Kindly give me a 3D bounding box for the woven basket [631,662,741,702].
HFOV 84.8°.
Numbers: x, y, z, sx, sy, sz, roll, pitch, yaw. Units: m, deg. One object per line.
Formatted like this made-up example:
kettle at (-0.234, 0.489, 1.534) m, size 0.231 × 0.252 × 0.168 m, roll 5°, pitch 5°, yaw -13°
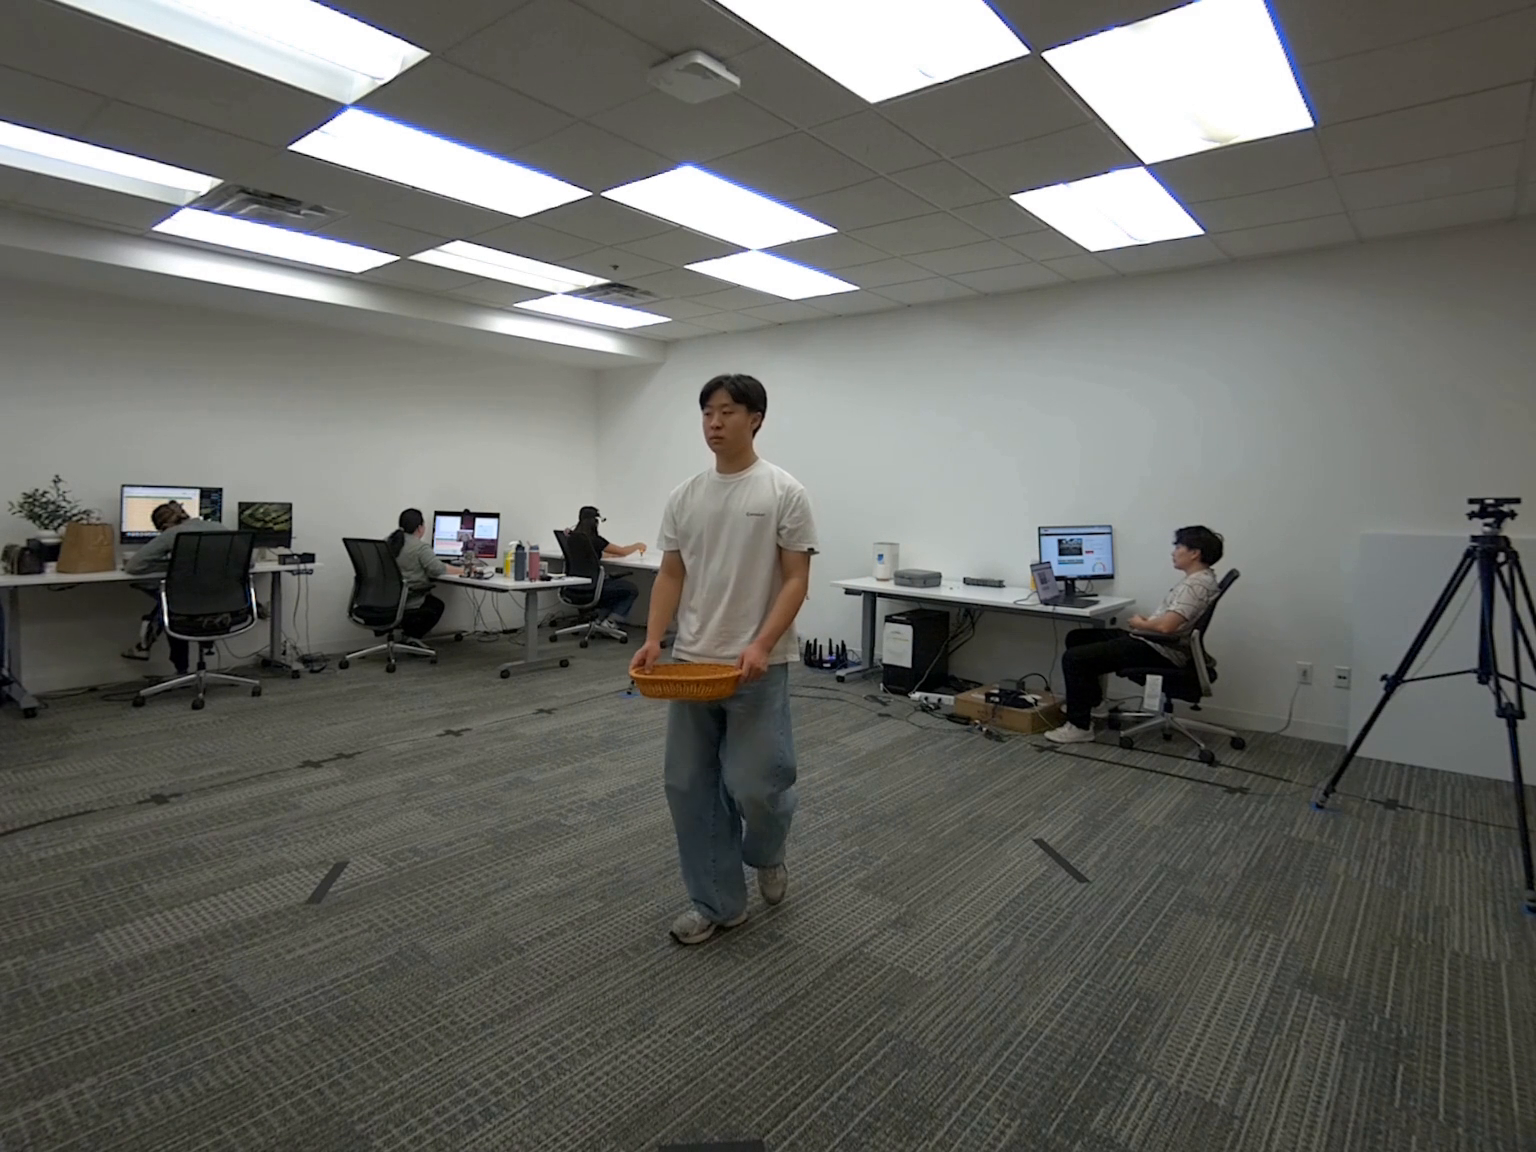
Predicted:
woven basket at (-0.249, 0.302, 2.496) m, size 0.359 × 0.073 × 0.247 m, roll 0°, pitch 4°, yaw 26°
